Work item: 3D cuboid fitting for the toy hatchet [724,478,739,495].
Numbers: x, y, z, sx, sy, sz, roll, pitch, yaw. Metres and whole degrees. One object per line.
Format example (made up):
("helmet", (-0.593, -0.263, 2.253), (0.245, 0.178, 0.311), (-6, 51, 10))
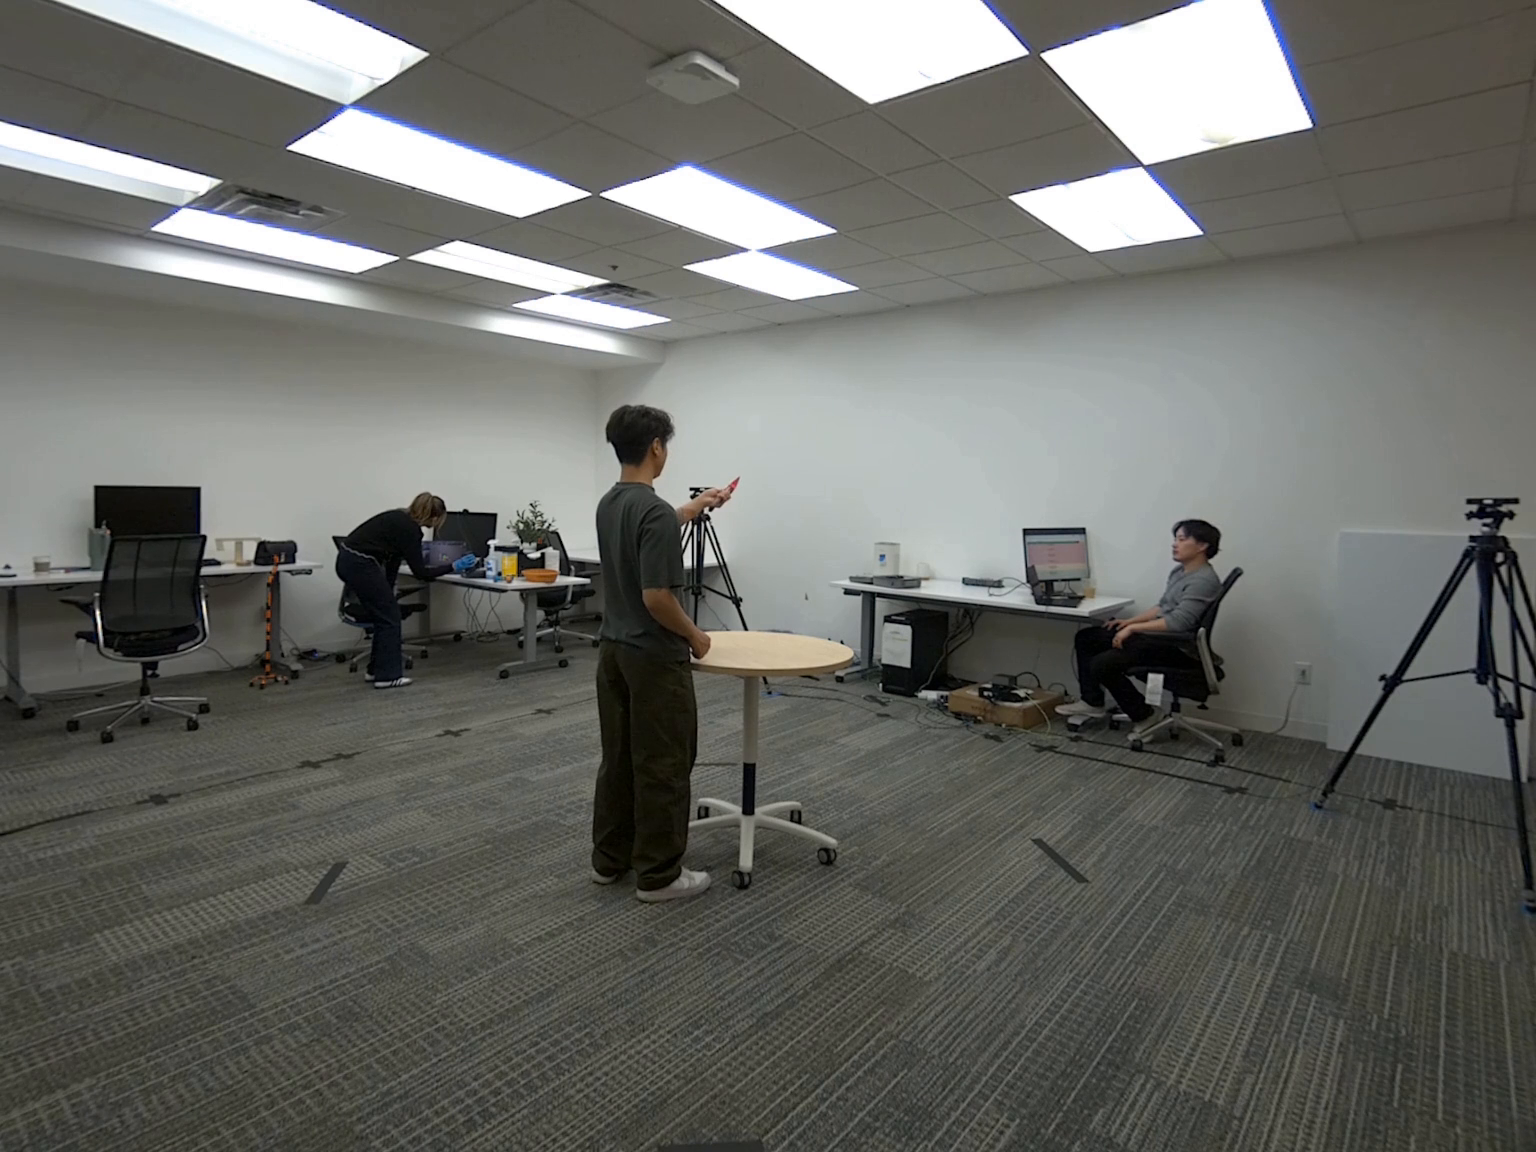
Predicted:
("toy hatchet", (-0.202, -0.312, 3.420), (0.029, 0.131, 0.271), (37, 37, -4))
